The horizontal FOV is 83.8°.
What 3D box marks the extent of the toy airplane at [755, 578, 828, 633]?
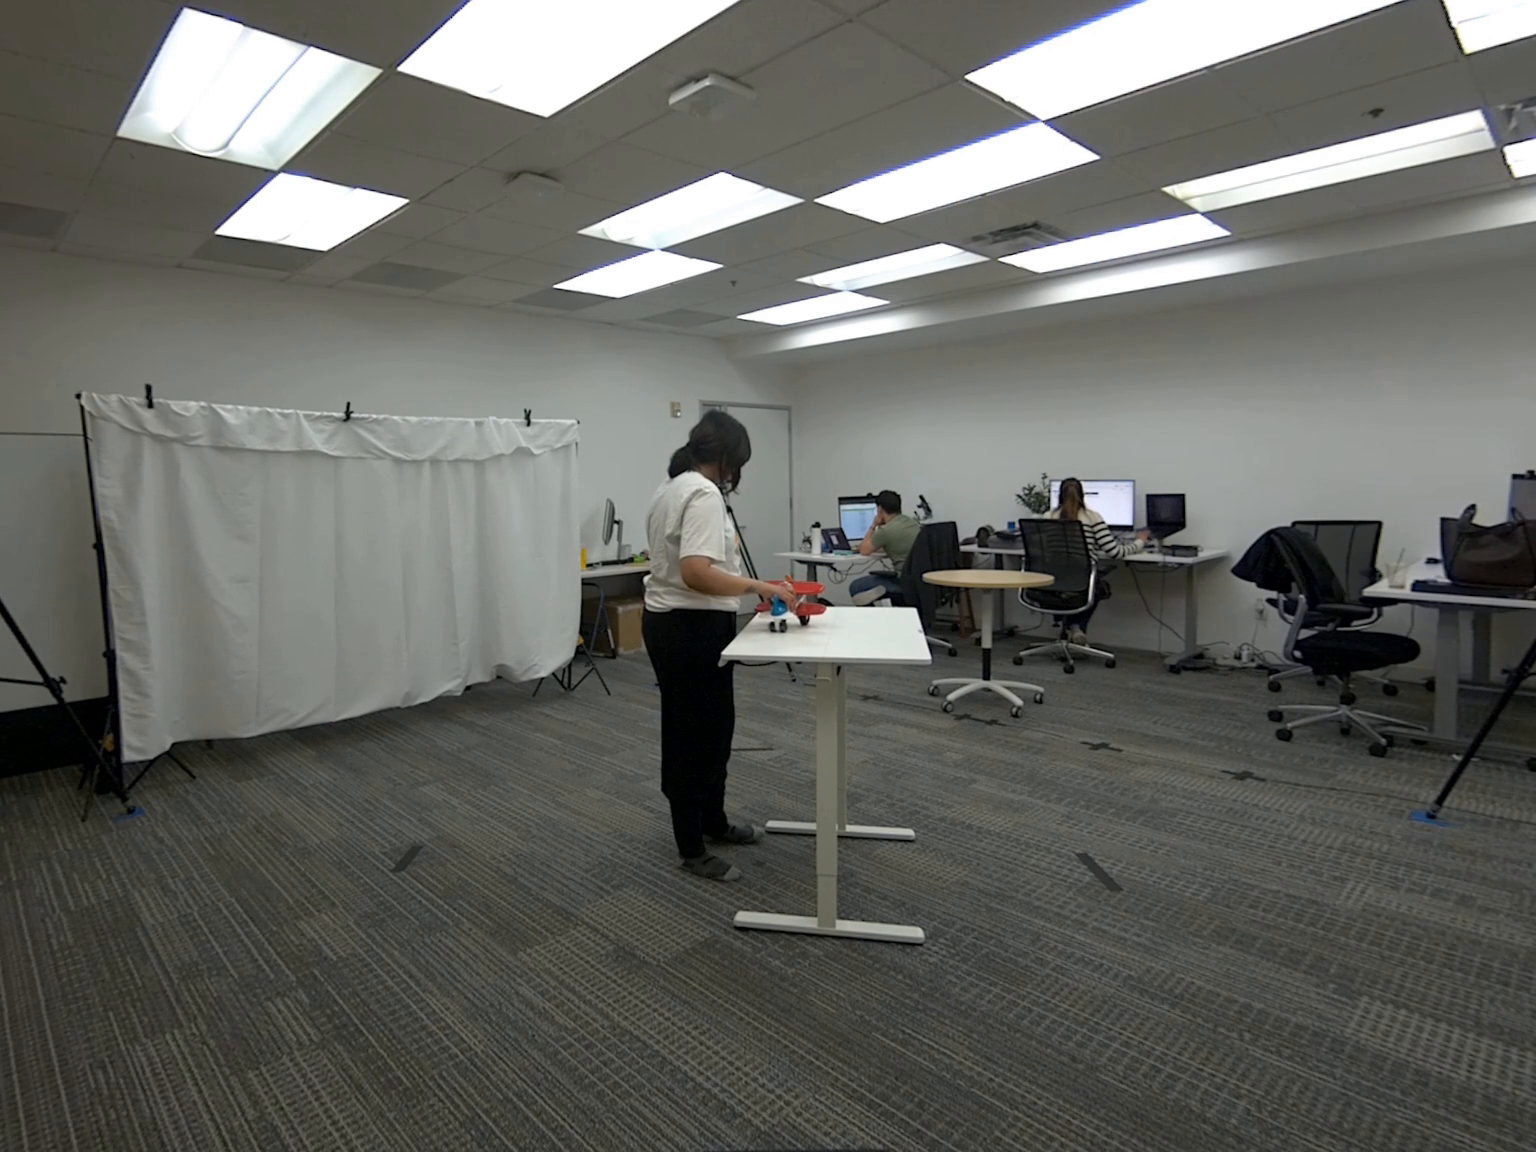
[{"bbox_3d":[0.085,0.102,2.950,0.249,0.156,0.262,-1,6,-8],"label":"toy airplane"}]
